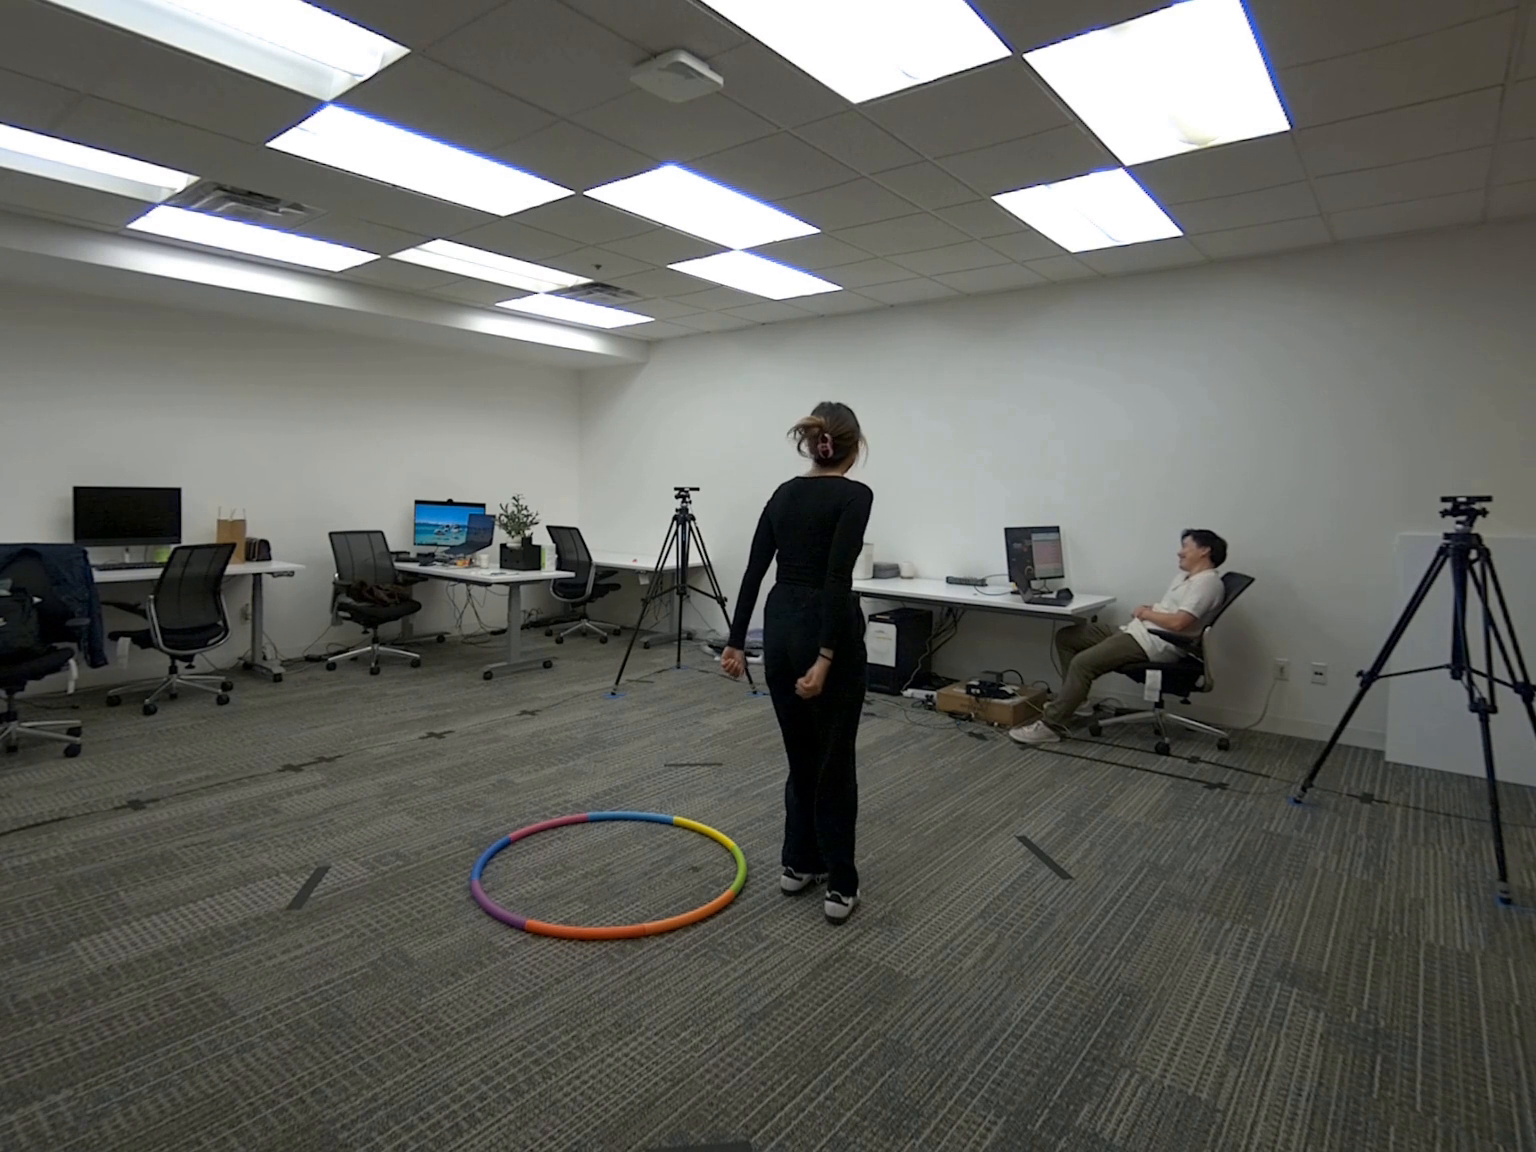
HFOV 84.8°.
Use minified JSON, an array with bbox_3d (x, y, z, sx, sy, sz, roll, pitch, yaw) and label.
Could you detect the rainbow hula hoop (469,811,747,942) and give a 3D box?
[{"bbox_3d":[-0.574,1.033,3.081,0.978,0.035,0.983,1,5,-2],"label":"rainbow hula hoop"}]
